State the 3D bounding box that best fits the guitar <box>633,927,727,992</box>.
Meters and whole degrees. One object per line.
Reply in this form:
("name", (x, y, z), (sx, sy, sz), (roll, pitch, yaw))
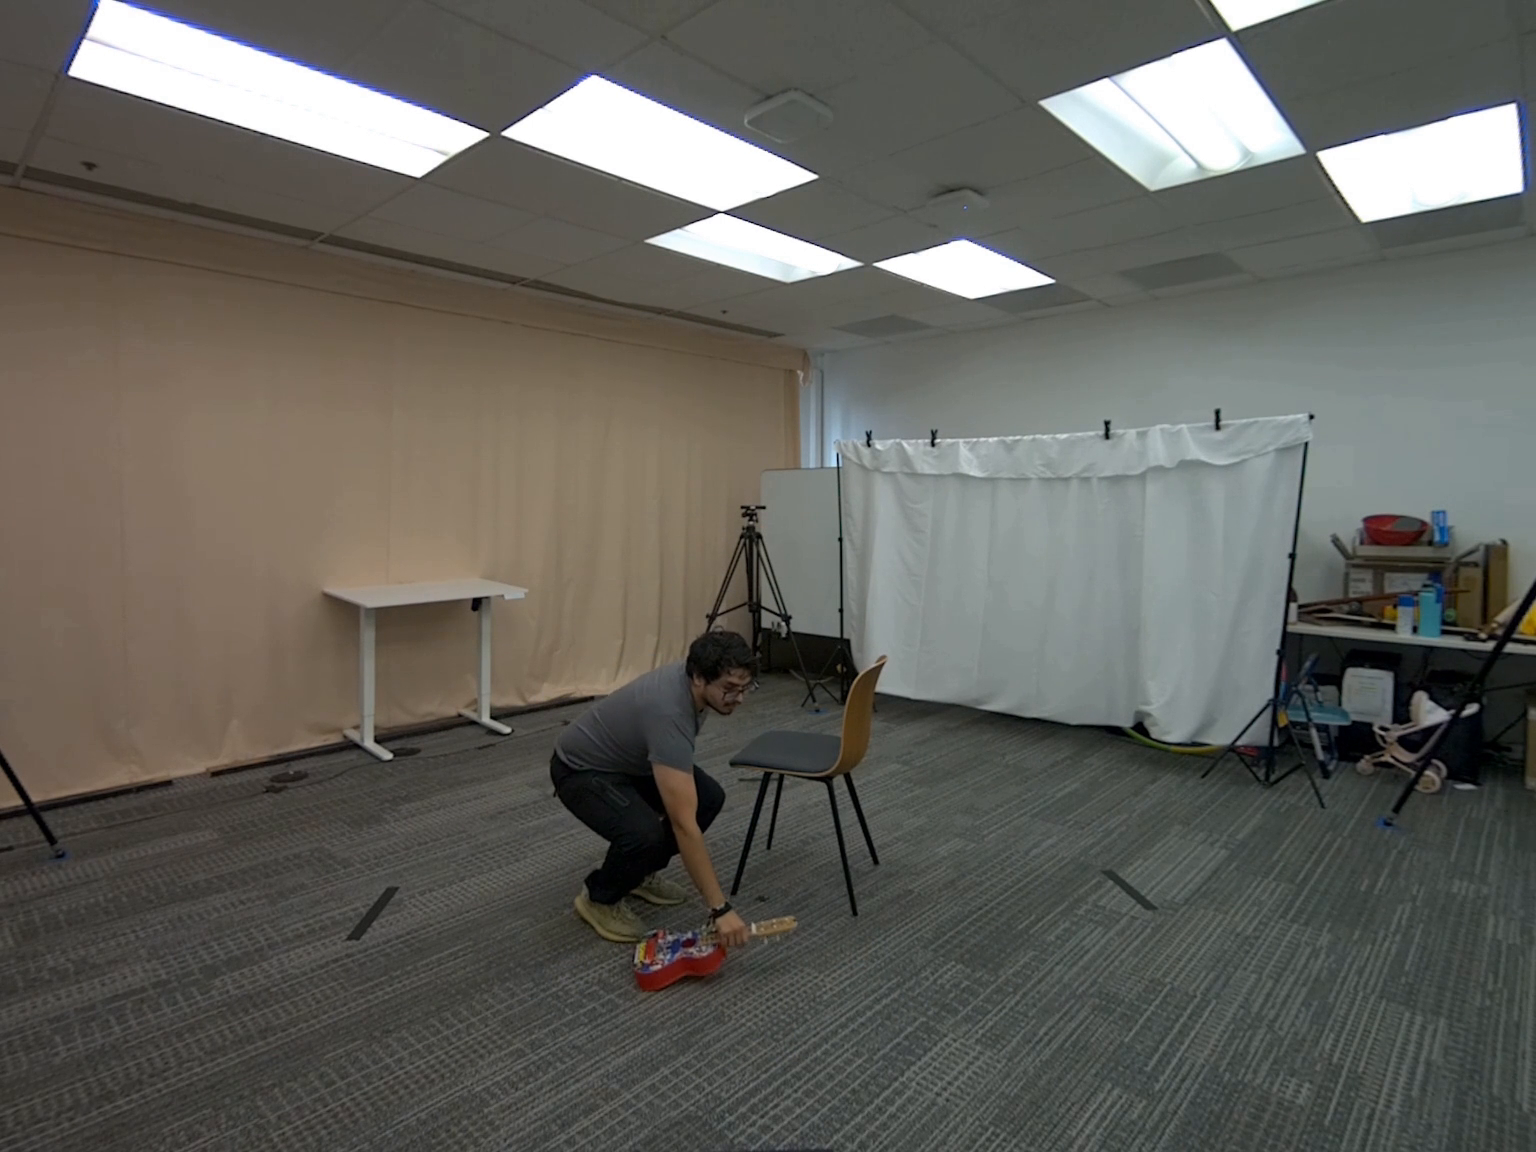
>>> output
("guitar", (-0.159, 1.103, 2.461), (0.503, 0.070, 0.192), (-10, 10, 12))
